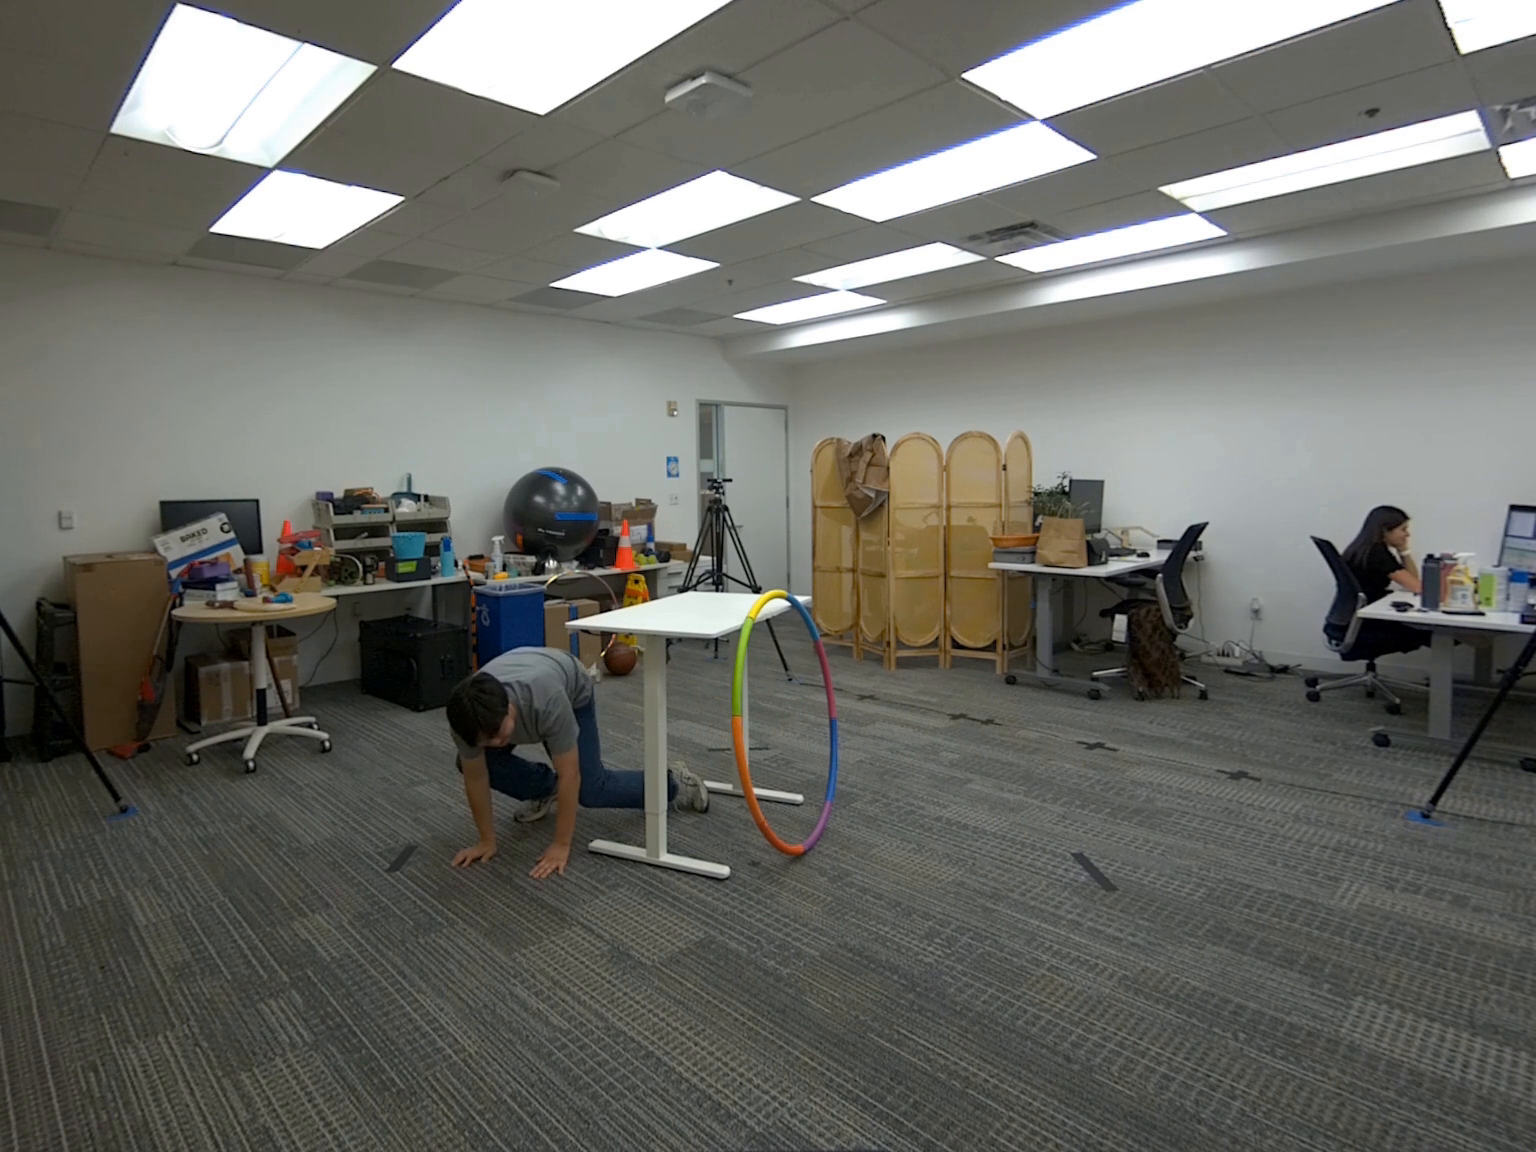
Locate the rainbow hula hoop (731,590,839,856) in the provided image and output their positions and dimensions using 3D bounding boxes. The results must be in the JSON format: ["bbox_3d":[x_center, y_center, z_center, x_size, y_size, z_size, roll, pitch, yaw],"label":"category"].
[{"bbox_3d":[0.088,0.545,3.266,0.036,0.979,0.962,-10,1,22],"label":"rainbow hula hoop"}]
